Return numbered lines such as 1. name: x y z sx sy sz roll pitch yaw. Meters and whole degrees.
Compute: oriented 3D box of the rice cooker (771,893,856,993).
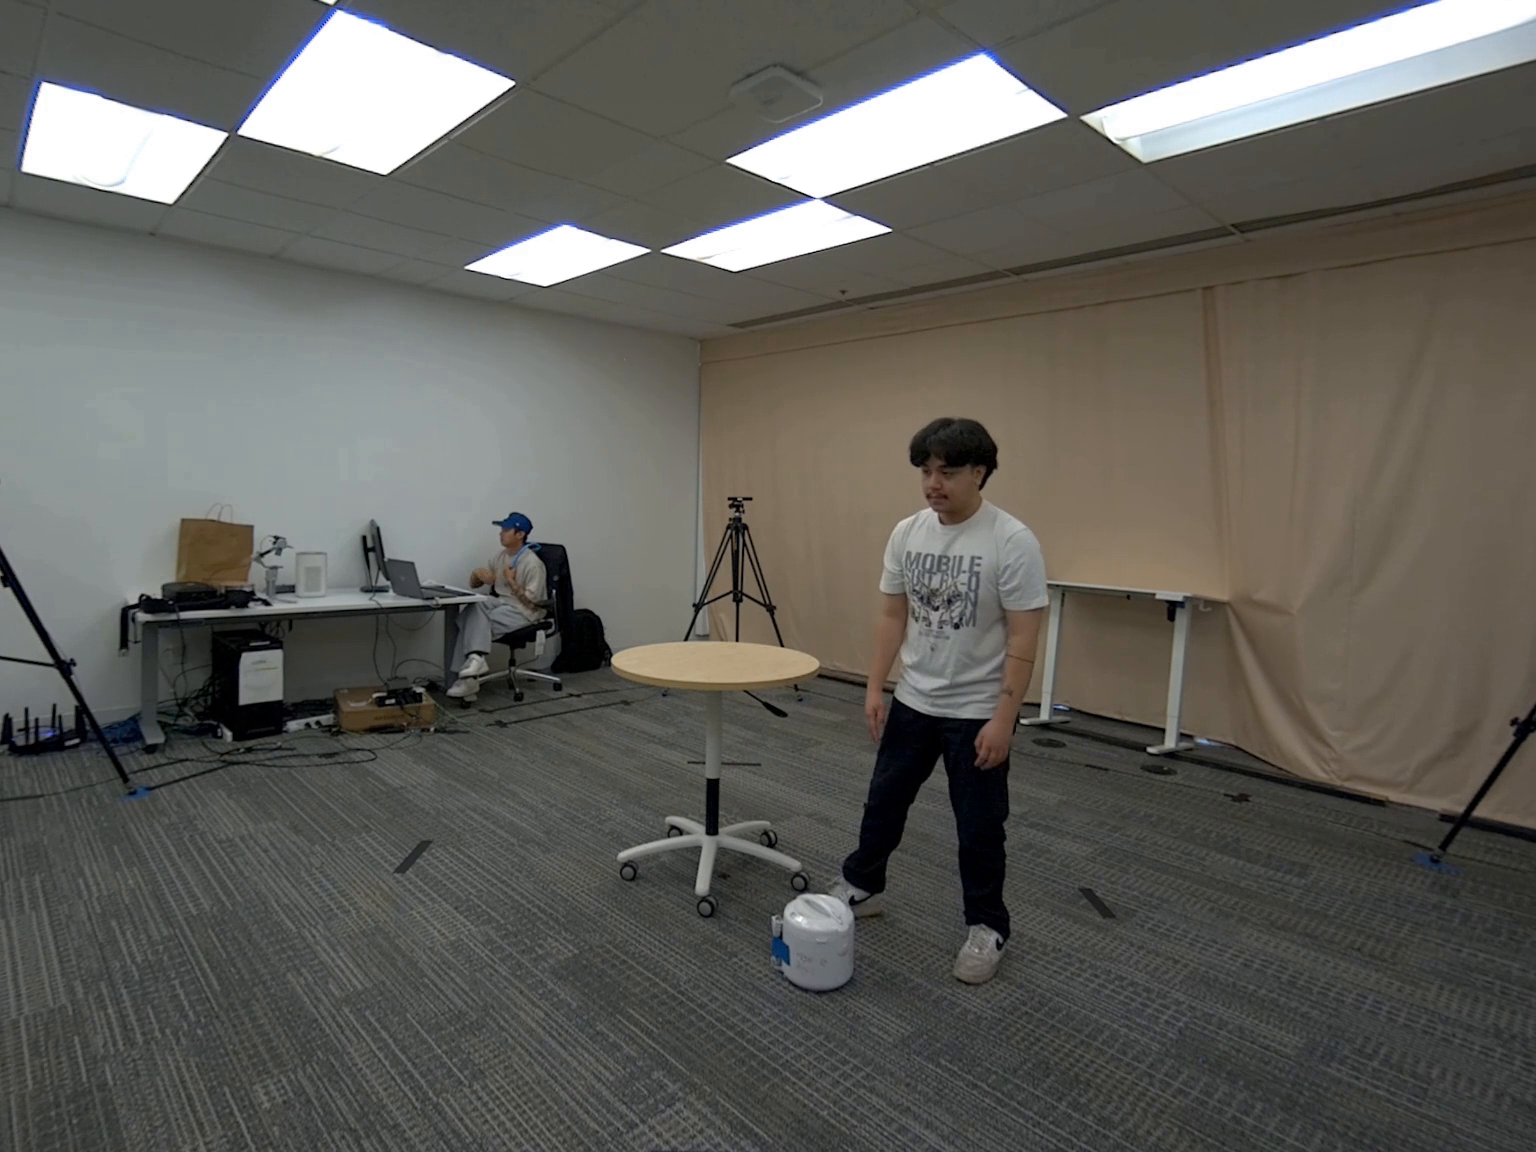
1. rice cooker: 0.145 1.054 2.469 0.212 0.232 0.226 -3 6 -39
